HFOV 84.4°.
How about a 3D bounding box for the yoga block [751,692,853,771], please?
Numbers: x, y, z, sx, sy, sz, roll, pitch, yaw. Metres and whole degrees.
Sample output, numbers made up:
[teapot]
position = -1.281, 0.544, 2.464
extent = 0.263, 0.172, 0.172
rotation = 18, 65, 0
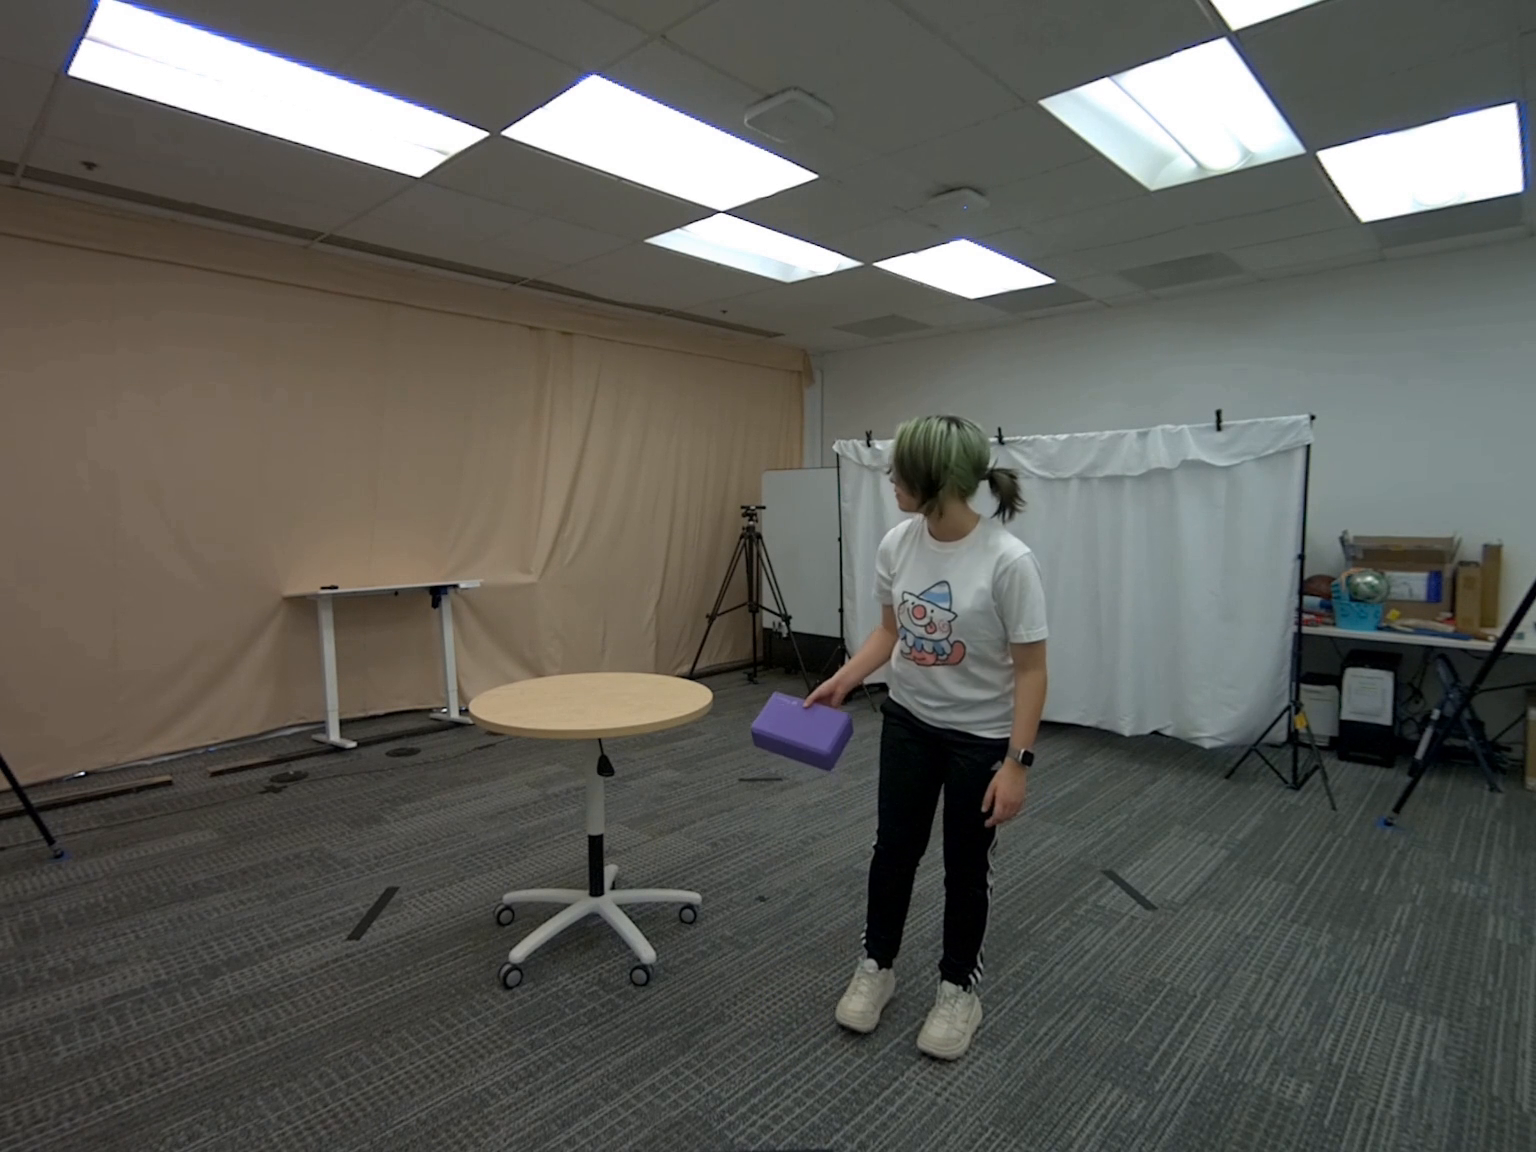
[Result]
[yoga block]
position = 0.098, 0.415, 2.180
extent = 0.237, 0.074, 0.148
rotation = 13, 43, 34
